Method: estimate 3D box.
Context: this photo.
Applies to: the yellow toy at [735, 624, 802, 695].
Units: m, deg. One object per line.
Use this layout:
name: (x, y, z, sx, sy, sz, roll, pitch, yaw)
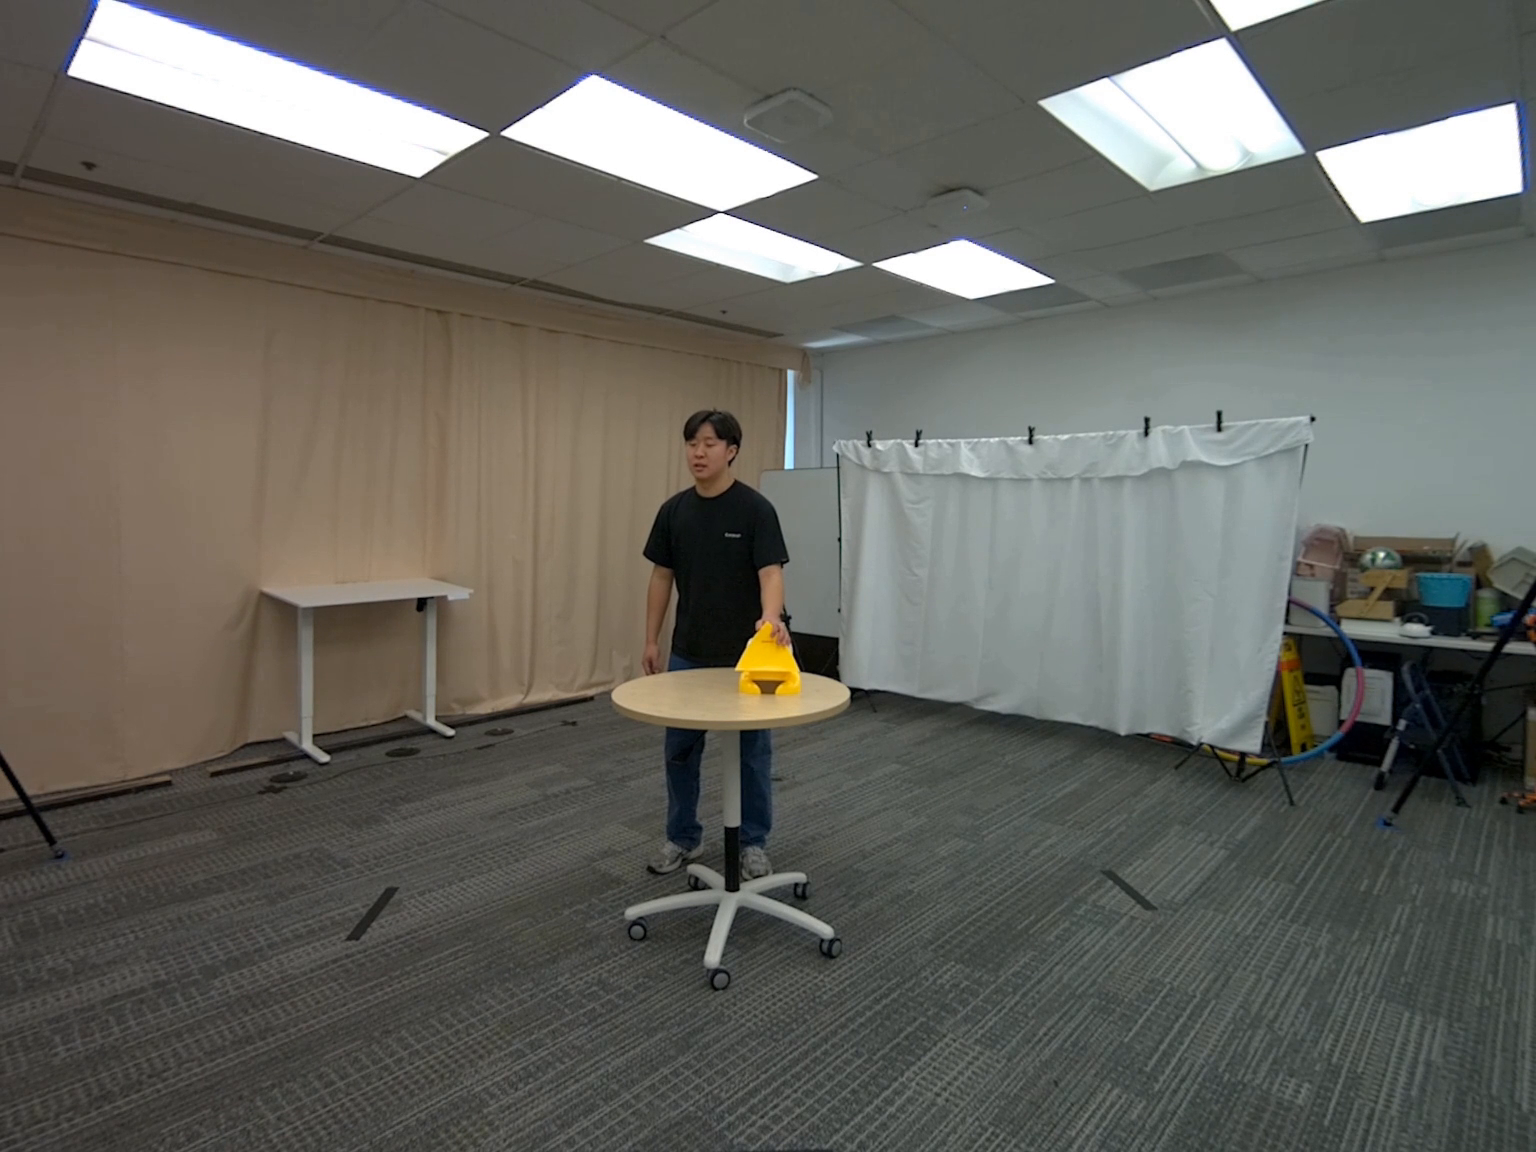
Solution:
yellow toy: (0.006, 0.258, 2.724, 0.207, 0.230, 0.192, 1, 4, 8)
